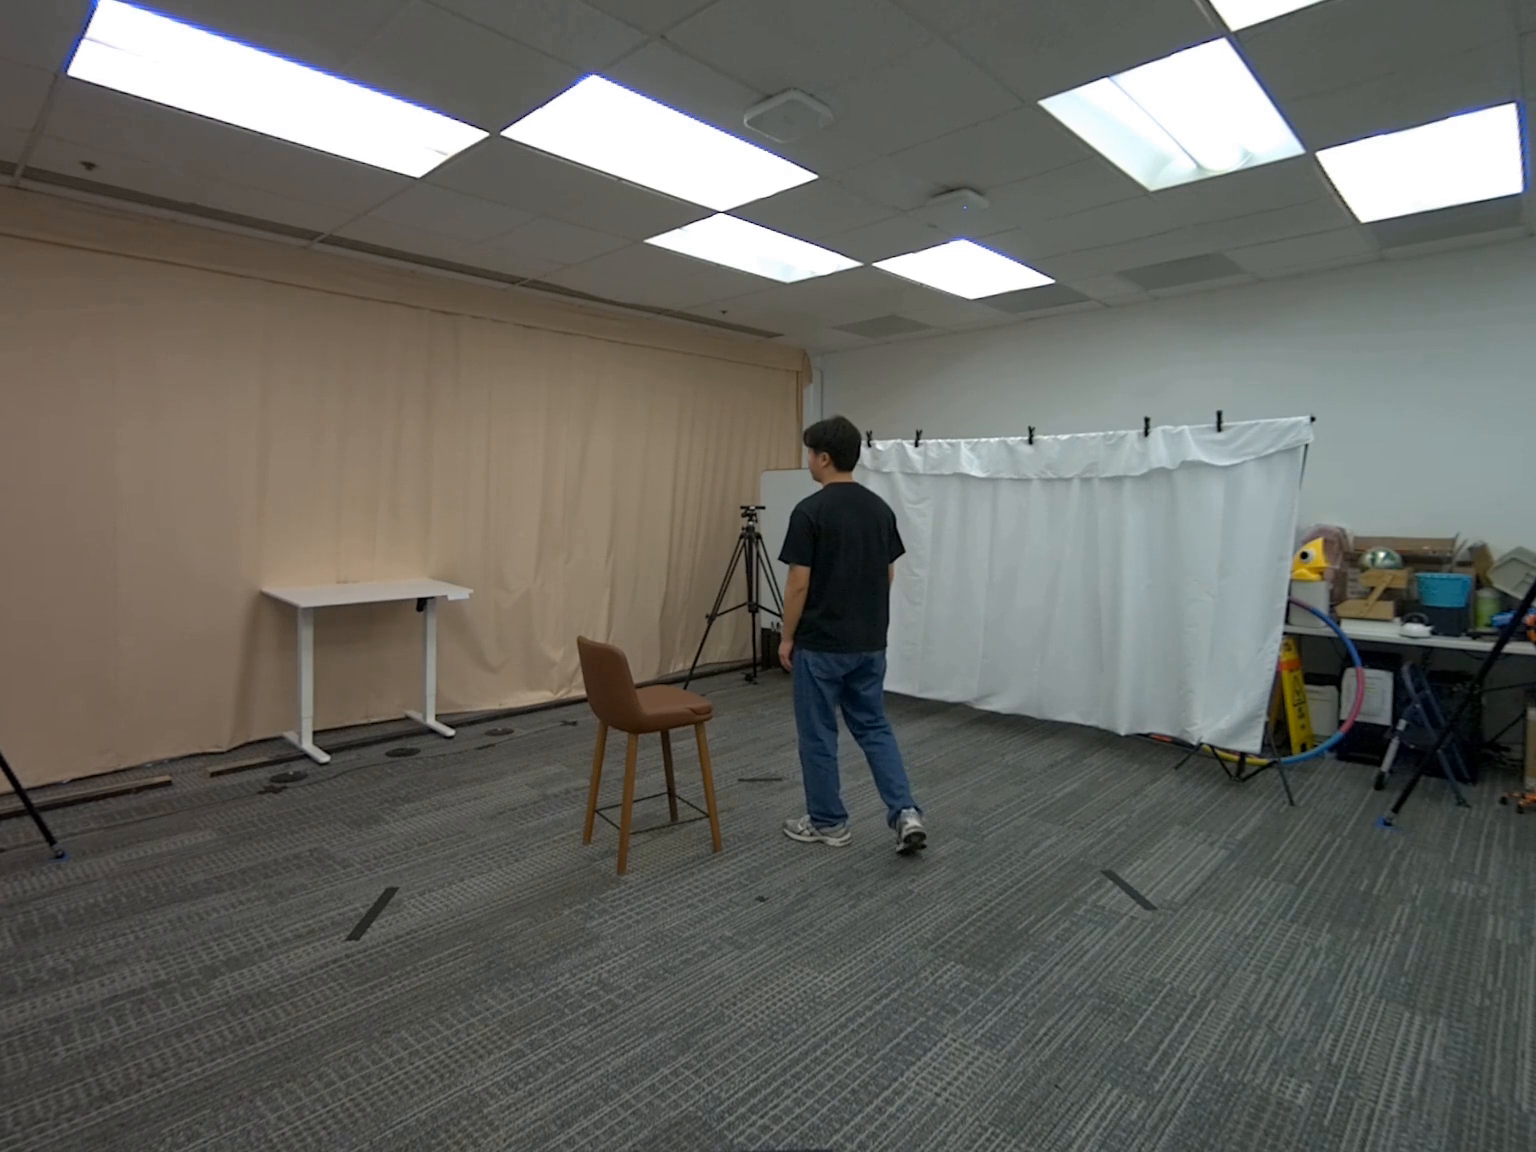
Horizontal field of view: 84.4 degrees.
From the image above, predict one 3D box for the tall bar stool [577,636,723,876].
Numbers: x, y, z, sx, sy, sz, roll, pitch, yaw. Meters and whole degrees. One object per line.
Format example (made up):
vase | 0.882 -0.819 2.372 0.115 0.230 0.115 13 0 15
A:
tall bar stool | -0.486 0.674 3.433 0.455 0.887 0.470 -5 5 -33
